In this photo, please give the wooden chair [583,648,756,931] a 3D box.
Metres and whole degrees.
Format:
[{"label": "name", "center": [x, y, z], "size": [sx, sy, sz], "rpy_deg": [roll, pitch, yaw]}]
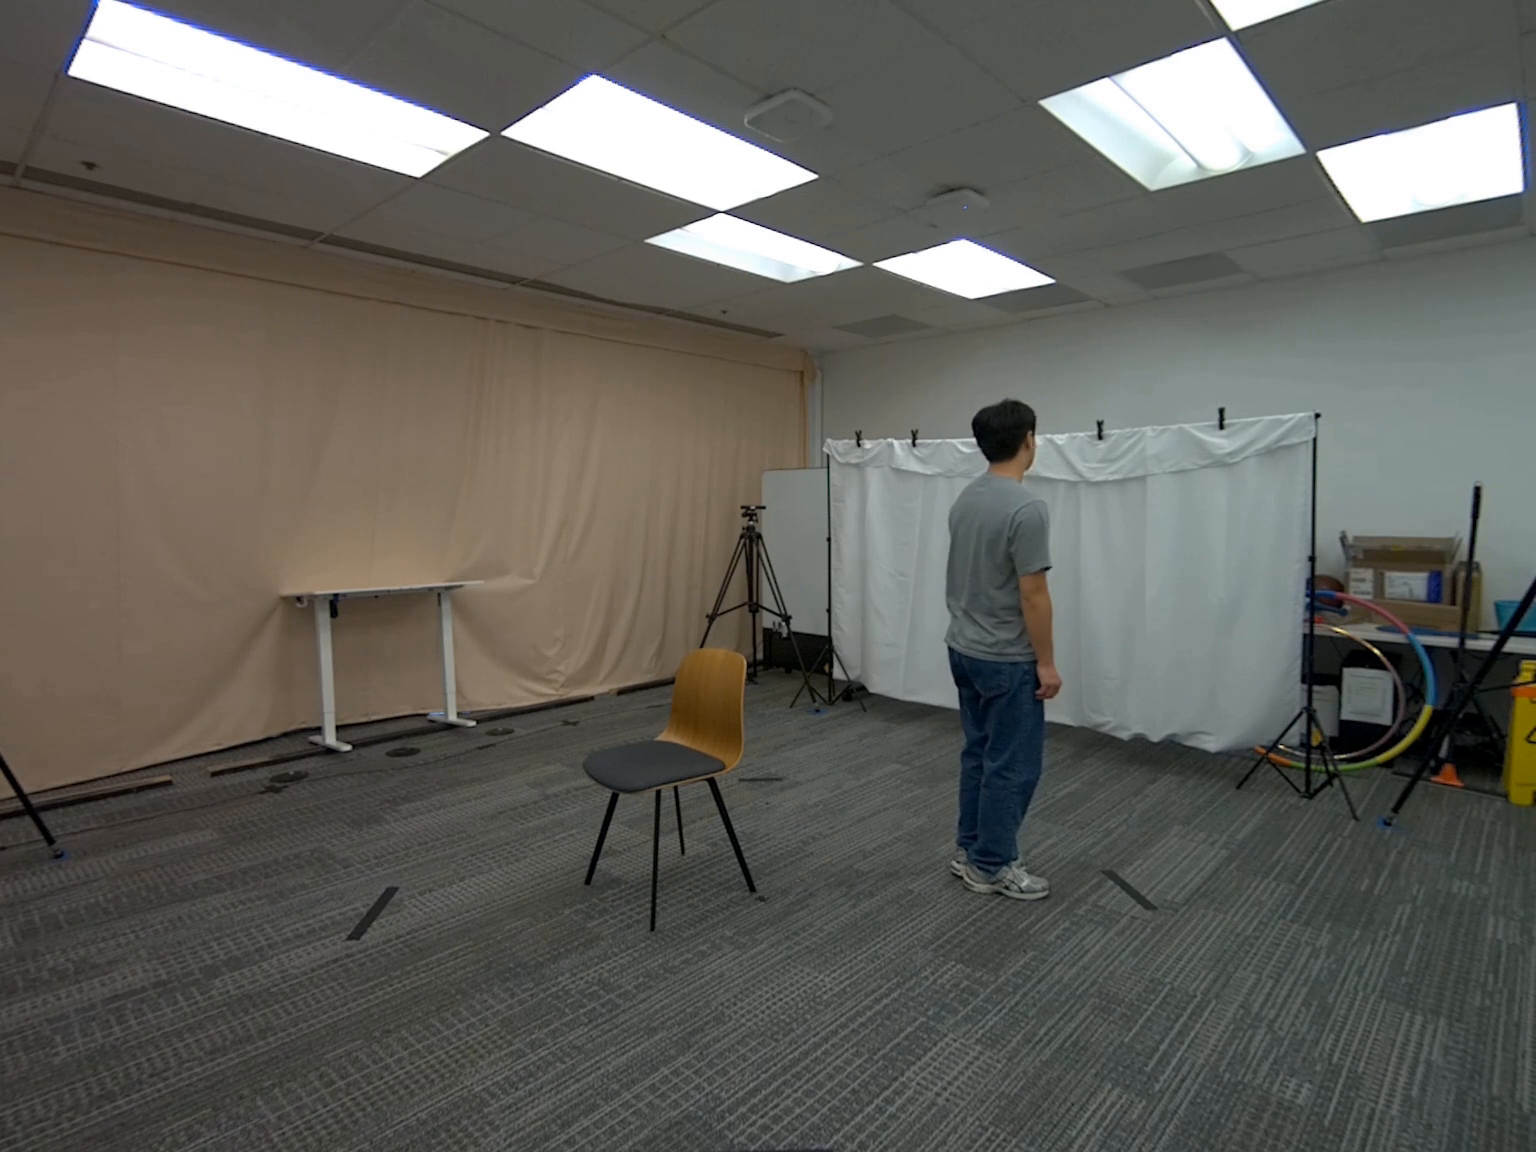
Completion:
[{"label": "wooden chair", "center": [-0.369, 0.718, 3.040], "size": [0.506, 0.877, 0.494], "rpy_deg": [3, 1, -40]}]
